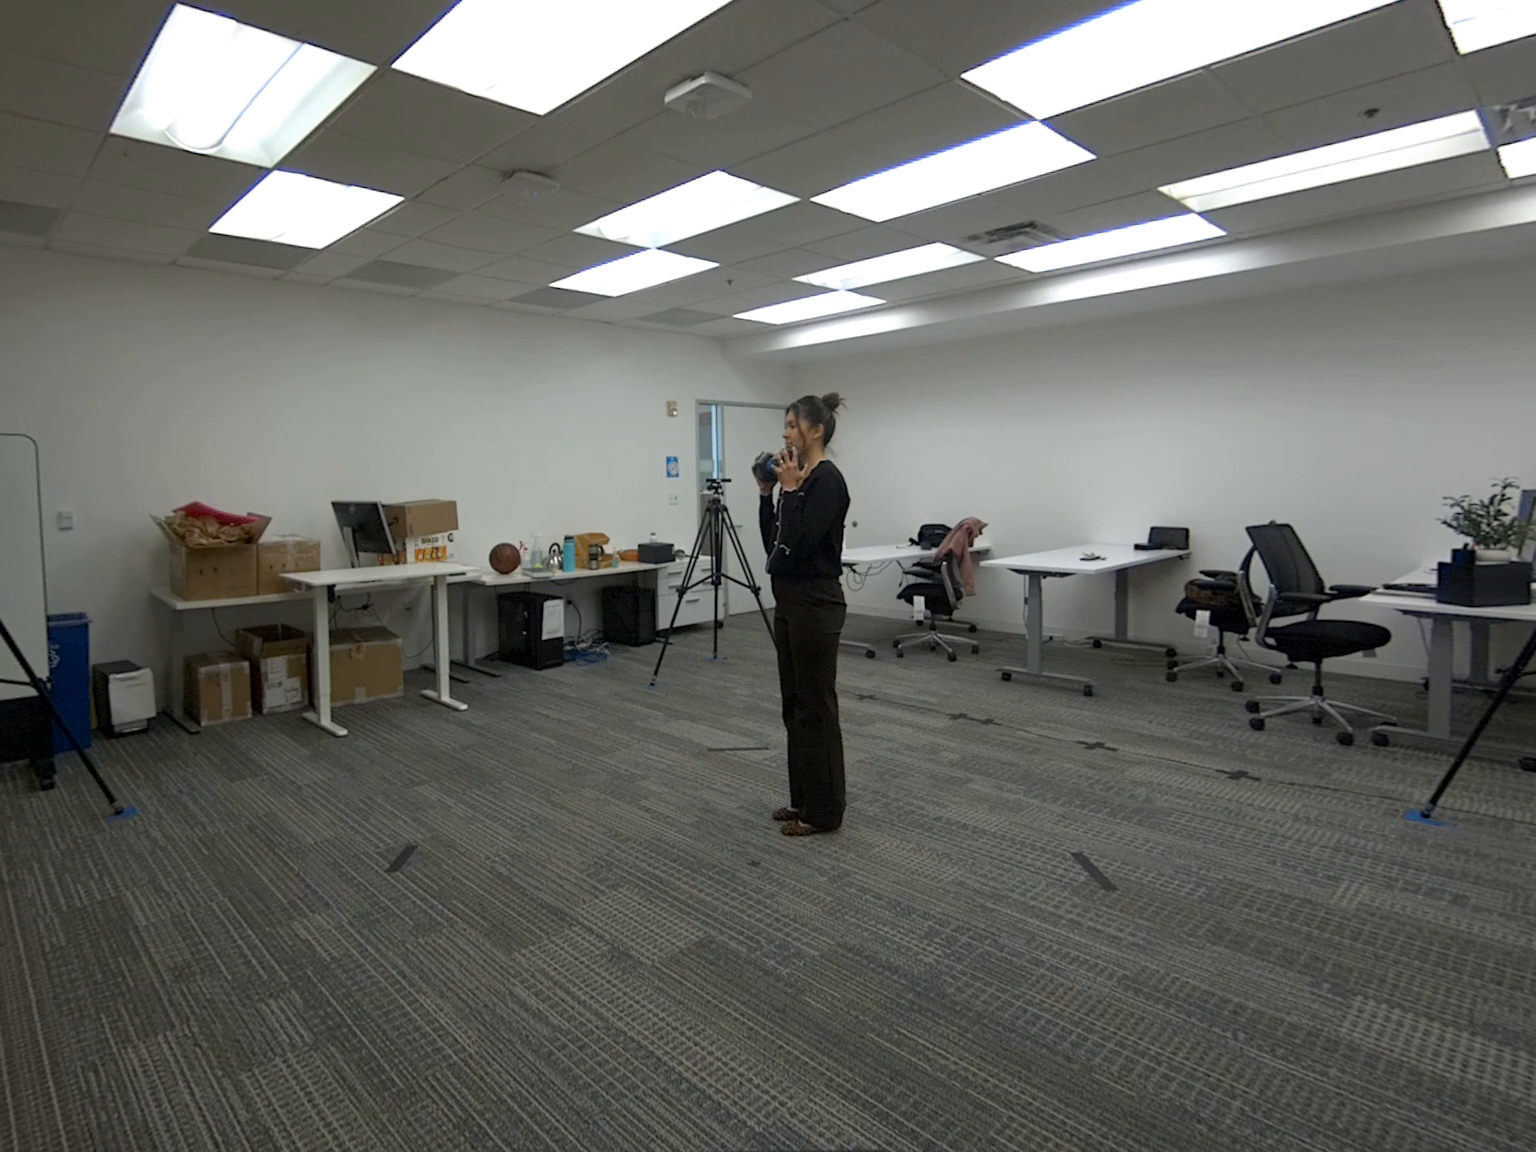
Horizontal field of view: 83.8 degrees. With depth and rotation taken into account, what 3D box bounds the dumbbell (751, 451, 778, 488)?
[{"bbox_3d":[0.053,-0.431,3.389,0.108,0.121,0.299,-33,12,-19],"label":"dumbbell"}]
